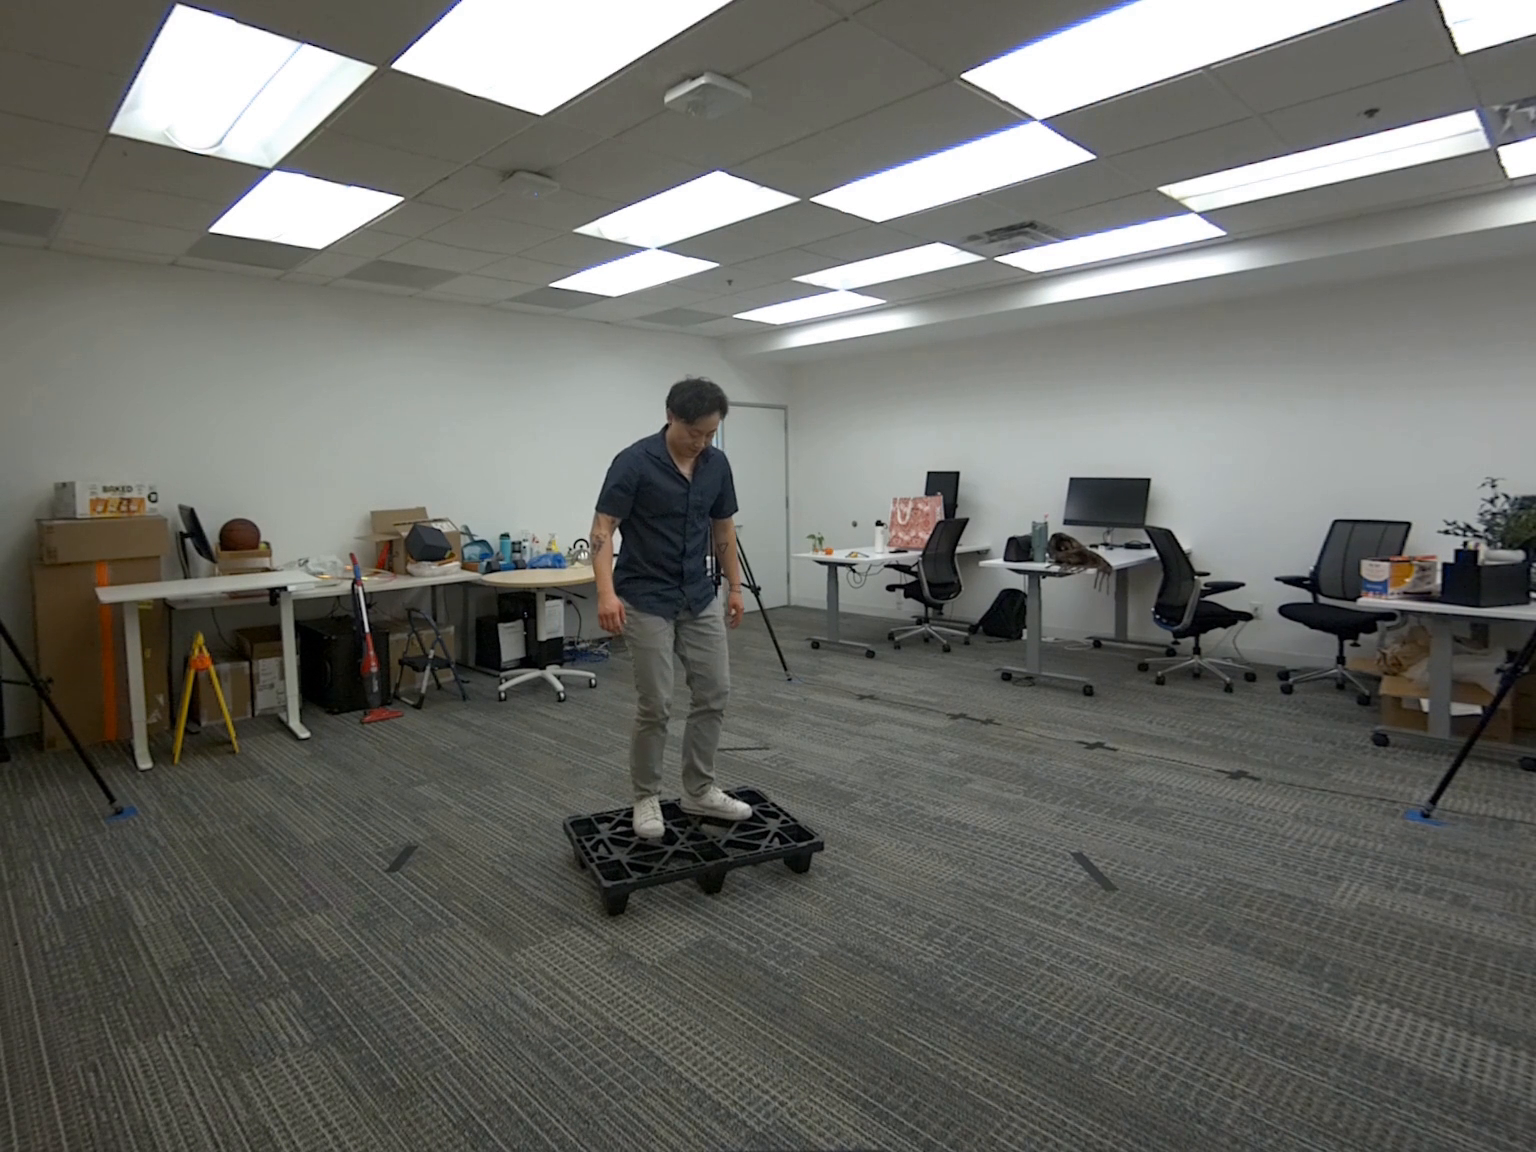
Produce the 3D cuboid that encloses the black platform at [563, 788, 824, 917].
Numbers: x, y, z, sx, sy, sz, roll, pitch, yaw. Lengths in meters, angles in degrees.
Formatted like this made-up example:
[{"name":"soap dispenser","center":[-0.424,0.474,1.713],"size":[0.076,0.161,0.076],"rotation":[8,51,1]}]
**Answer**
[{"name":"black platform","center":[-0.287,0.982,3.102],"size":[0.789,0.143,0.620],"rotation":[-4,6,-24]}]
